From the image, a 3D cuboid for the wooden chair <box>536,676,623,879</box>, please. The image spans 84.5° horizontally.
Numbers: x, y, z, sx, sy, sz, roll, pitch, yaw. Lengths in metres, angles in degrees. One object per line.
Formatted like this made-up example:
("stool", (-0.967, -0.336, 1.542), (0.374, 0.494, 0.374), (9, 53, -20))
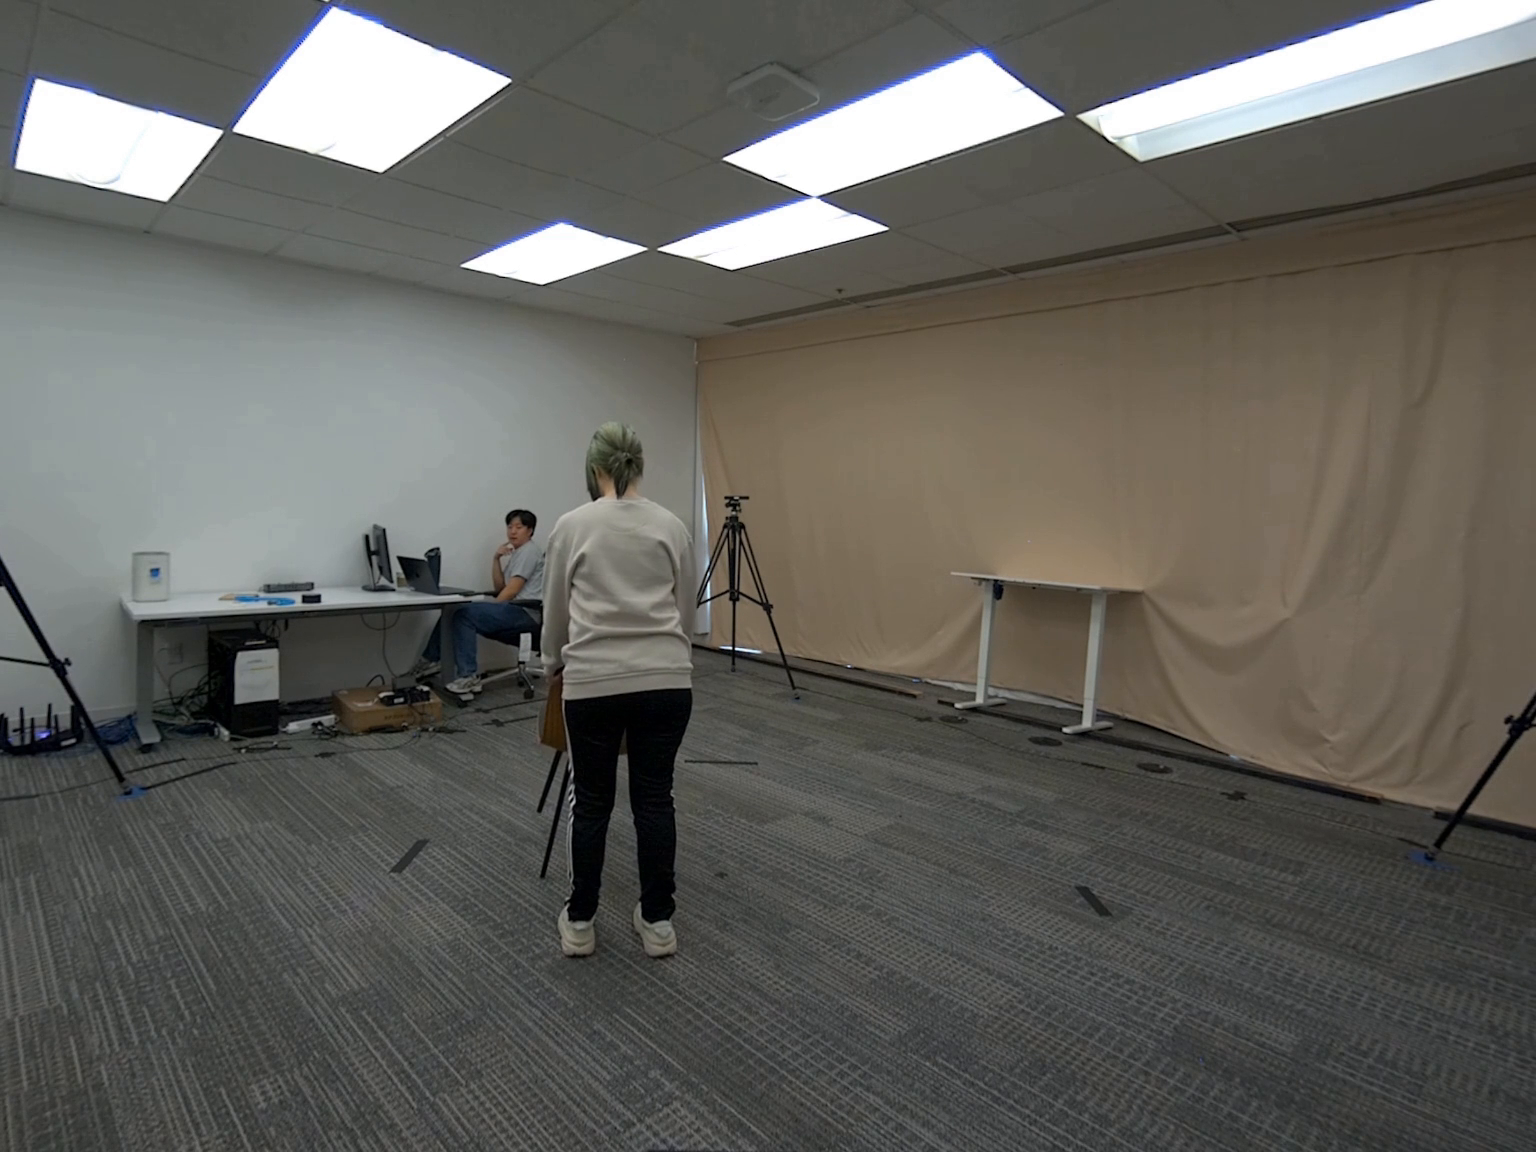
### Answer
("wooden chair", (-0.641, 0.625, 3.213), (0.472, 0.867, 0.535), (0, 18, -16))
